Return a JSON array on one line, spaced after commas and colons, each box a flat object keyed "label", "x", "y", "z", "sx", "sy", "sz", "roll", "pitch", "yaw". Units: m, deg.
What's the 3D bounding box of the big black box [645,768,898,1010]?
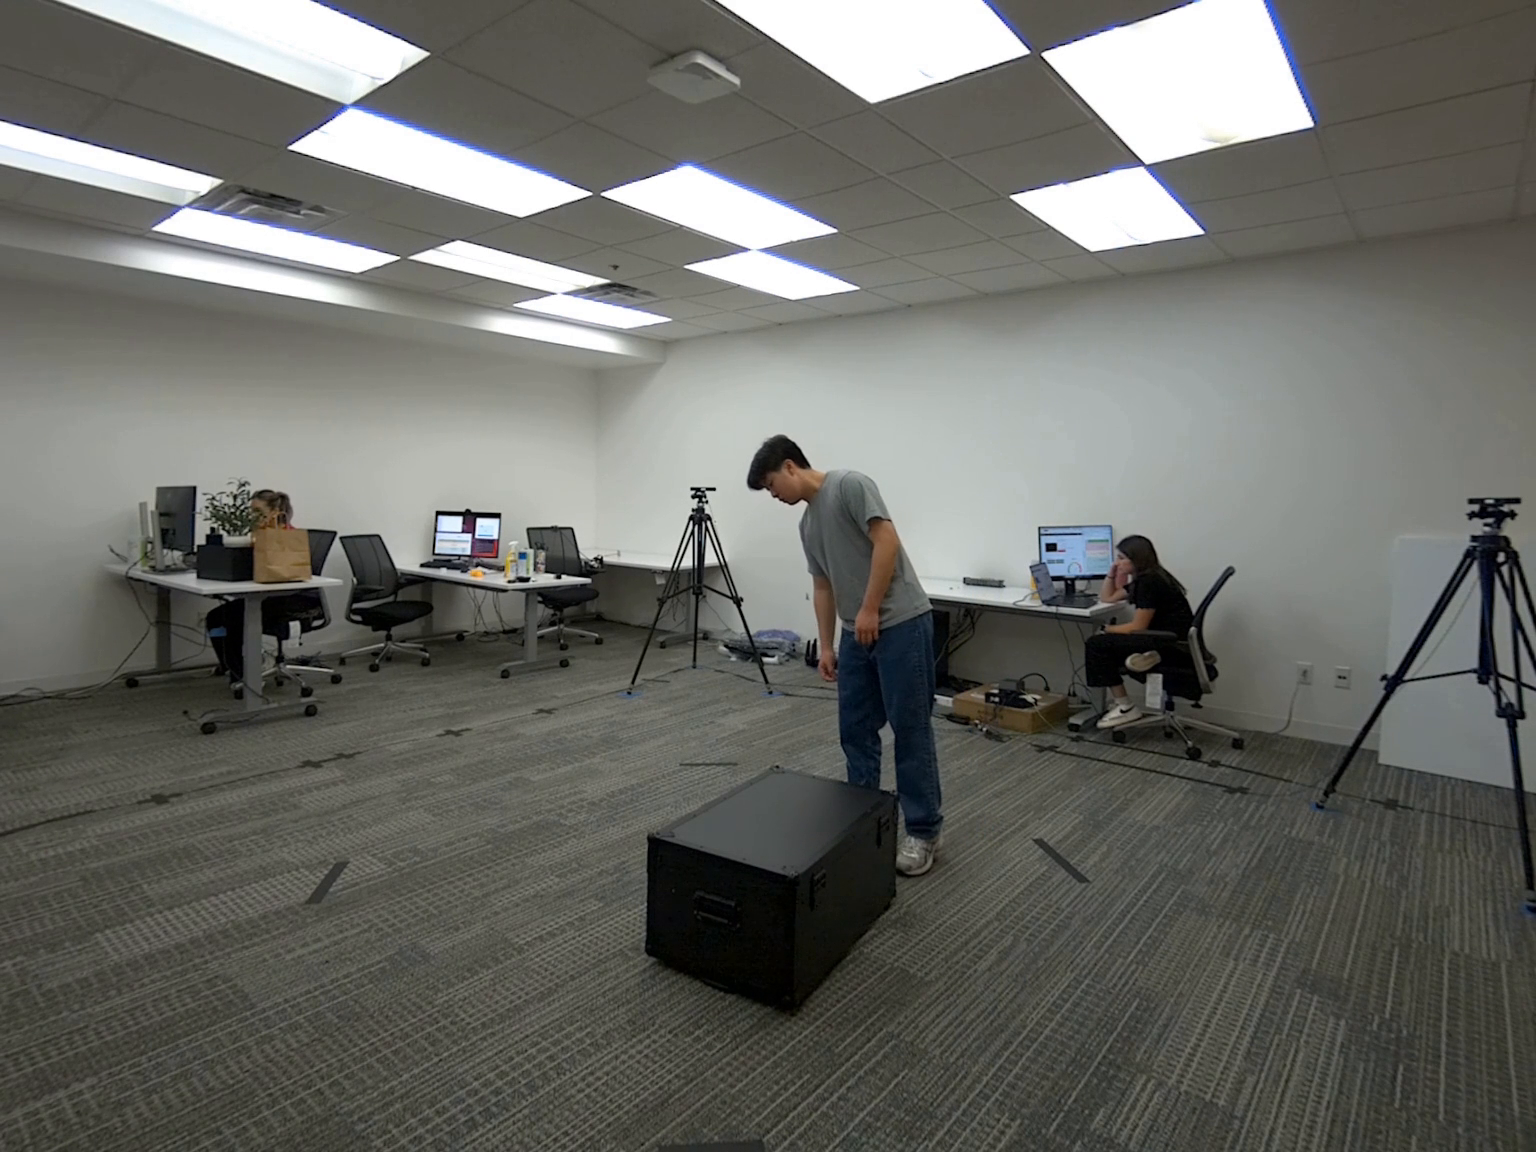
[{"label": "big black box", "x": 0.049, "y": 0.921, "z": 2.698, "sx": 0.536, "sy": 0.395, "sz": 0.839, "roll": 4, "pitch": 5, "yaw": 29}]
